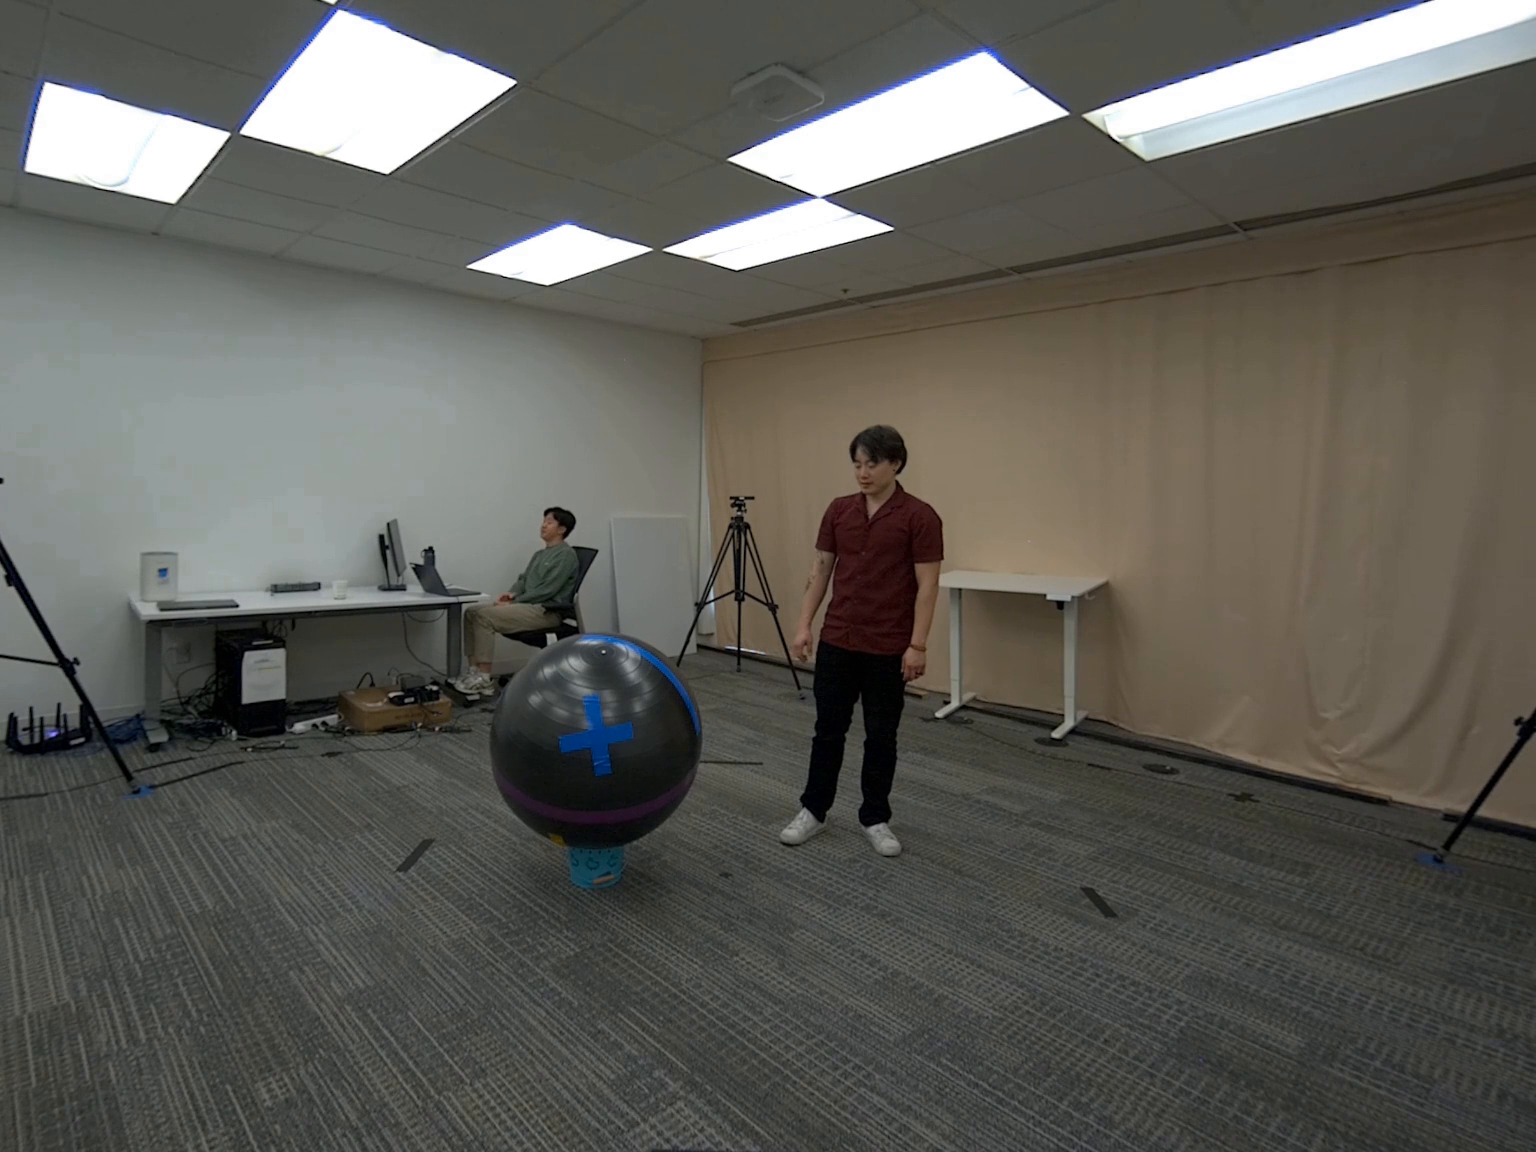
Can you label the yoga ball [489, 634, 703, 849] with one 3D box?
[{"bbox_3d":[-0.619,0.590,3.034,0.757,0.756,0.761,1,4,-1],"label":"yoga ball"}]
